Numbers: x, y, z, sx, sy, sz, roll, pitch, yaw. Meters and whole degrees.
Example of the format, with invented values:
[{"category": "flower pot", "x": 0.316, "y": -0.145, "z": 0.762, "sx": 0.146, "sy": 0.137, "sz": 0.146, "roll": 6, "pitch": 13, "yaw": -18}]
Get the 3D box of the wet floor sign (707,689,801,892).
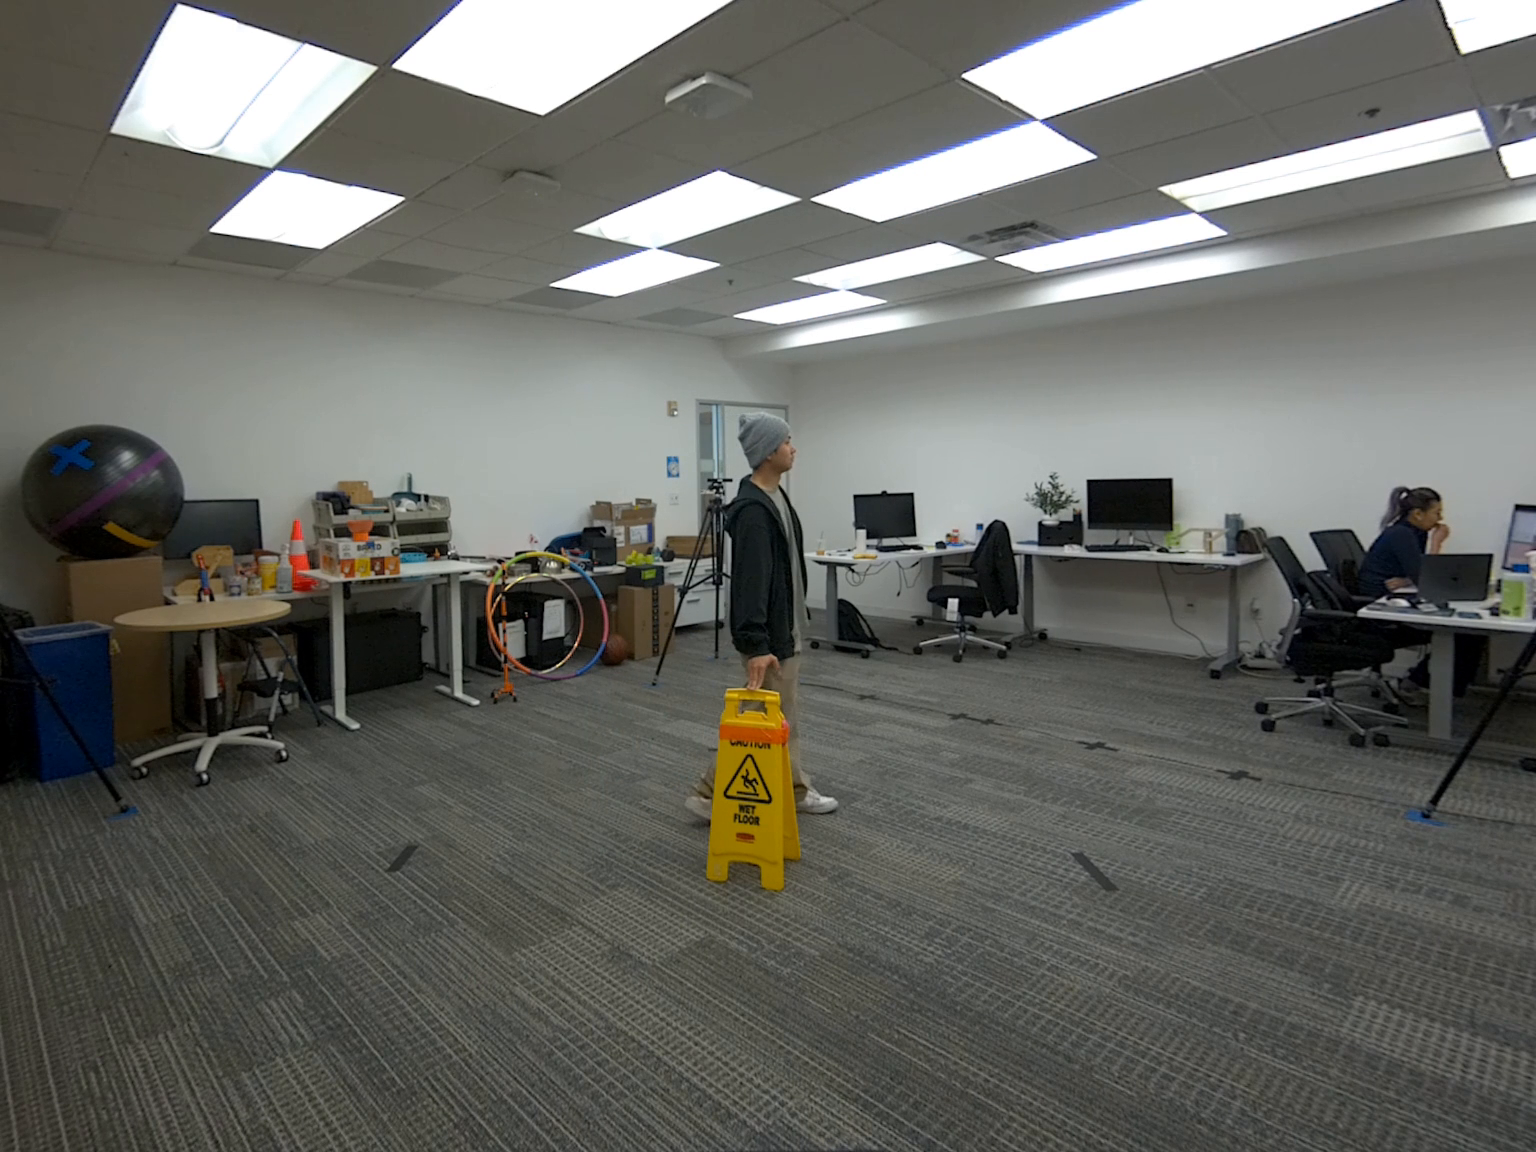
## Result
[{"category": "wet floor sign", "x": -0.053, "y": 0.730, "z": 3.035, "sx": 0.287, "sy": 0.644, "sz": 0.286, "roll": -1, "pitch": 4, "yaw": 18}]
